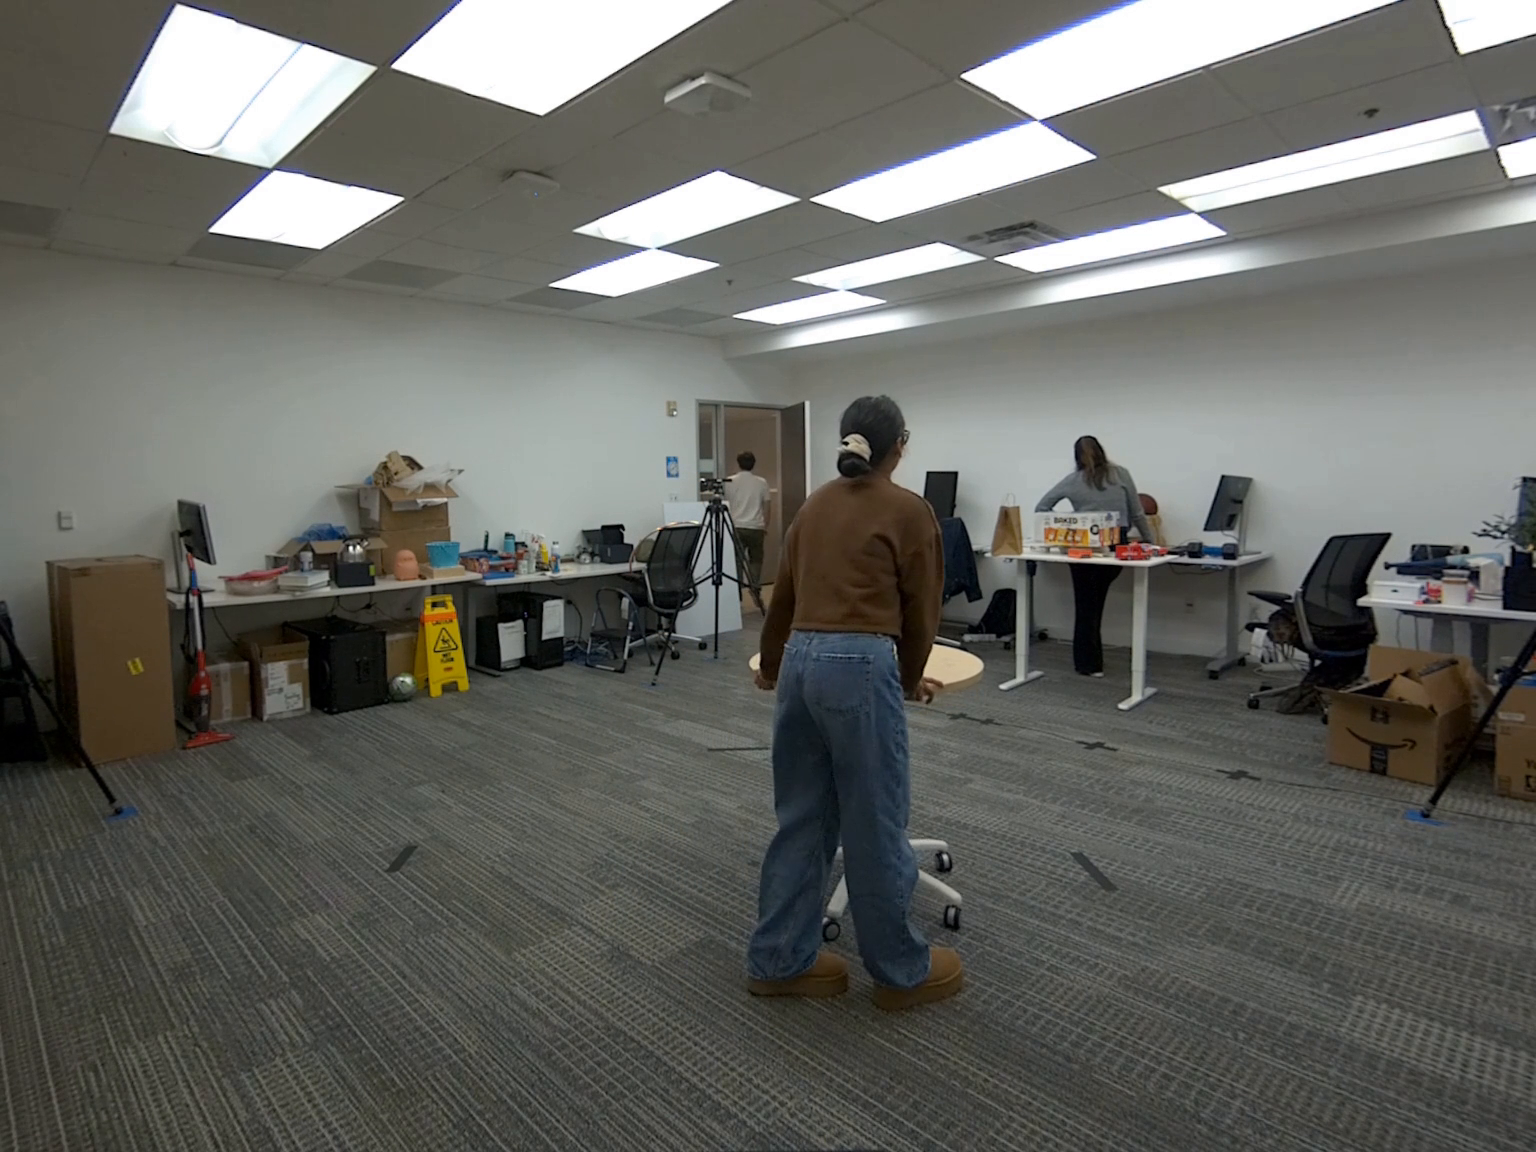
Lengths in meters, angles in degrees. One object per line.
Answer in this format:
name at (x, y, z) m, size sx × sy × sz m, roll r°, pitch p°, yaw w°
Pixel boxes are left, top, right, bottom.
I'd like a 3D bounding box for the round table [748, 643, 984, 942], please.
round table at (0.324, 0.673, 2.865) m, size 0.784 × 0.783 × 0.790 m, roll -2°, pitch 6°, yaw -2°
